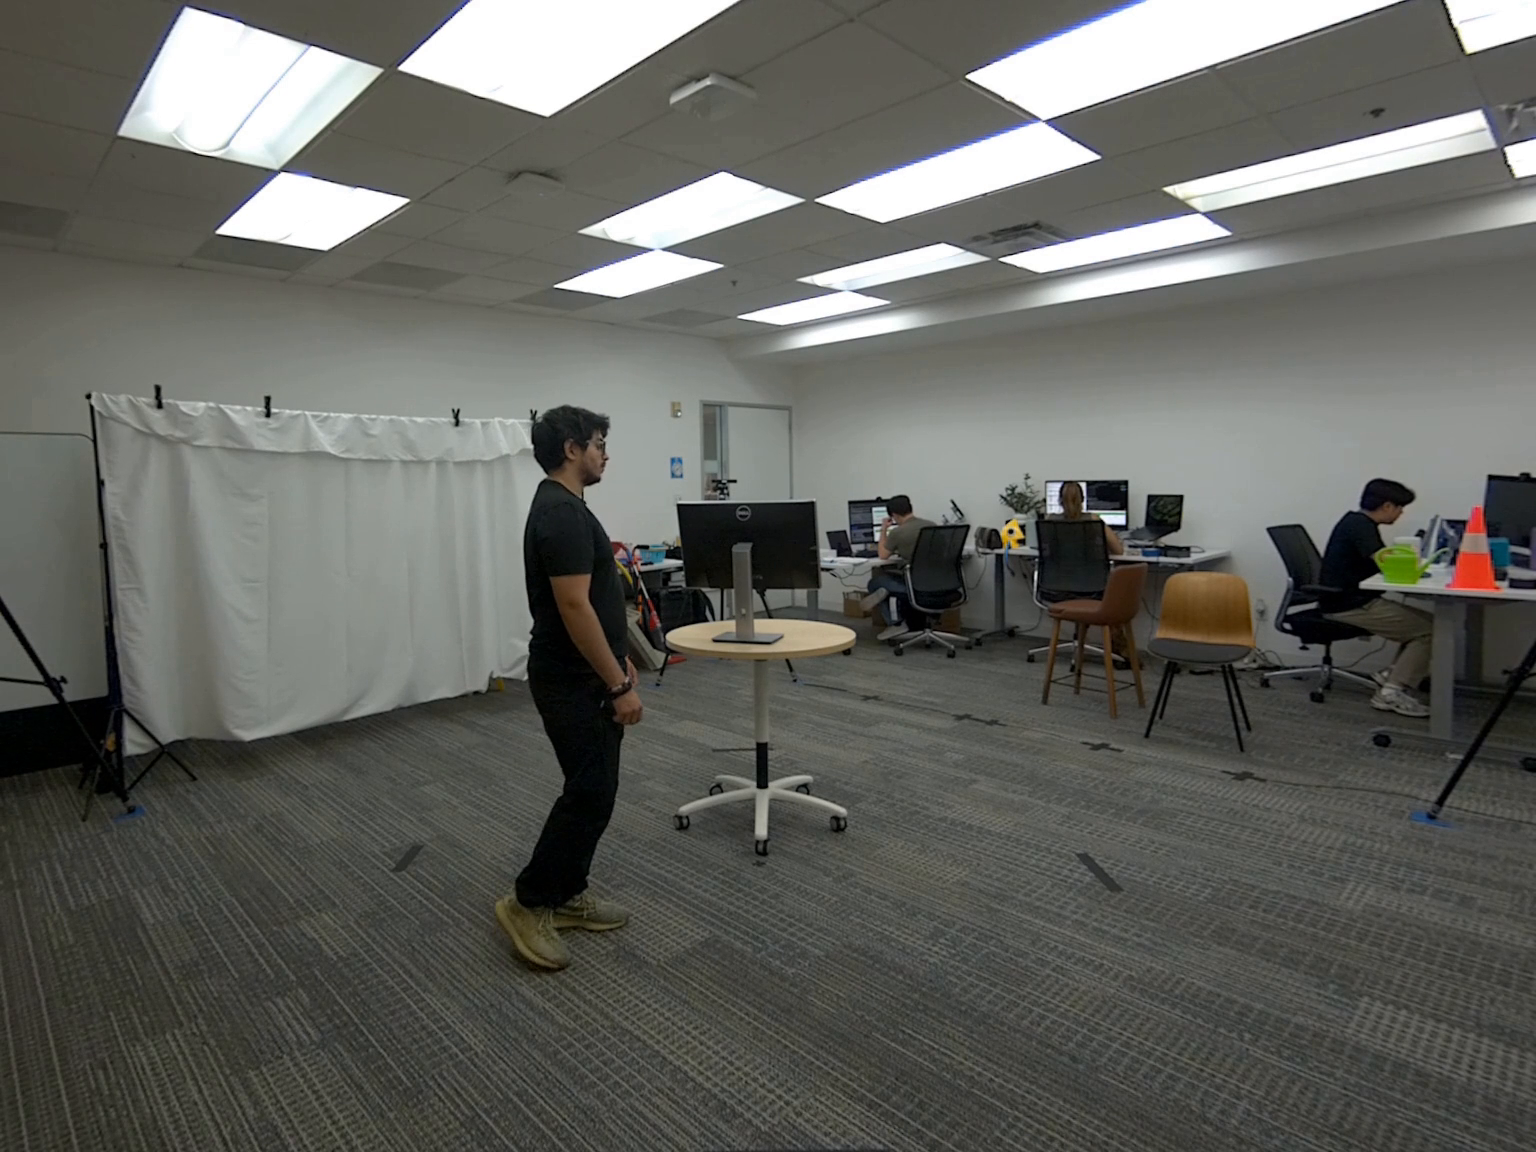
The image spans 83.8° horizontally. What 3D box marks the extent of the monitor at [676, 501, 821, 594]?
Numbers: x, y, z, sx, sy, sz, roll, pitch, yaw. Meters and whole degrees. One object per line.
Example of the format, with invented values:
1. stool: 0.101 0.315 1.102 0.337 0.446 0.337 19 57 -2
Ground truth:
1. monitor: -0.092 -0.015 3.314 0.574 0.549 0.209 1 10 16
